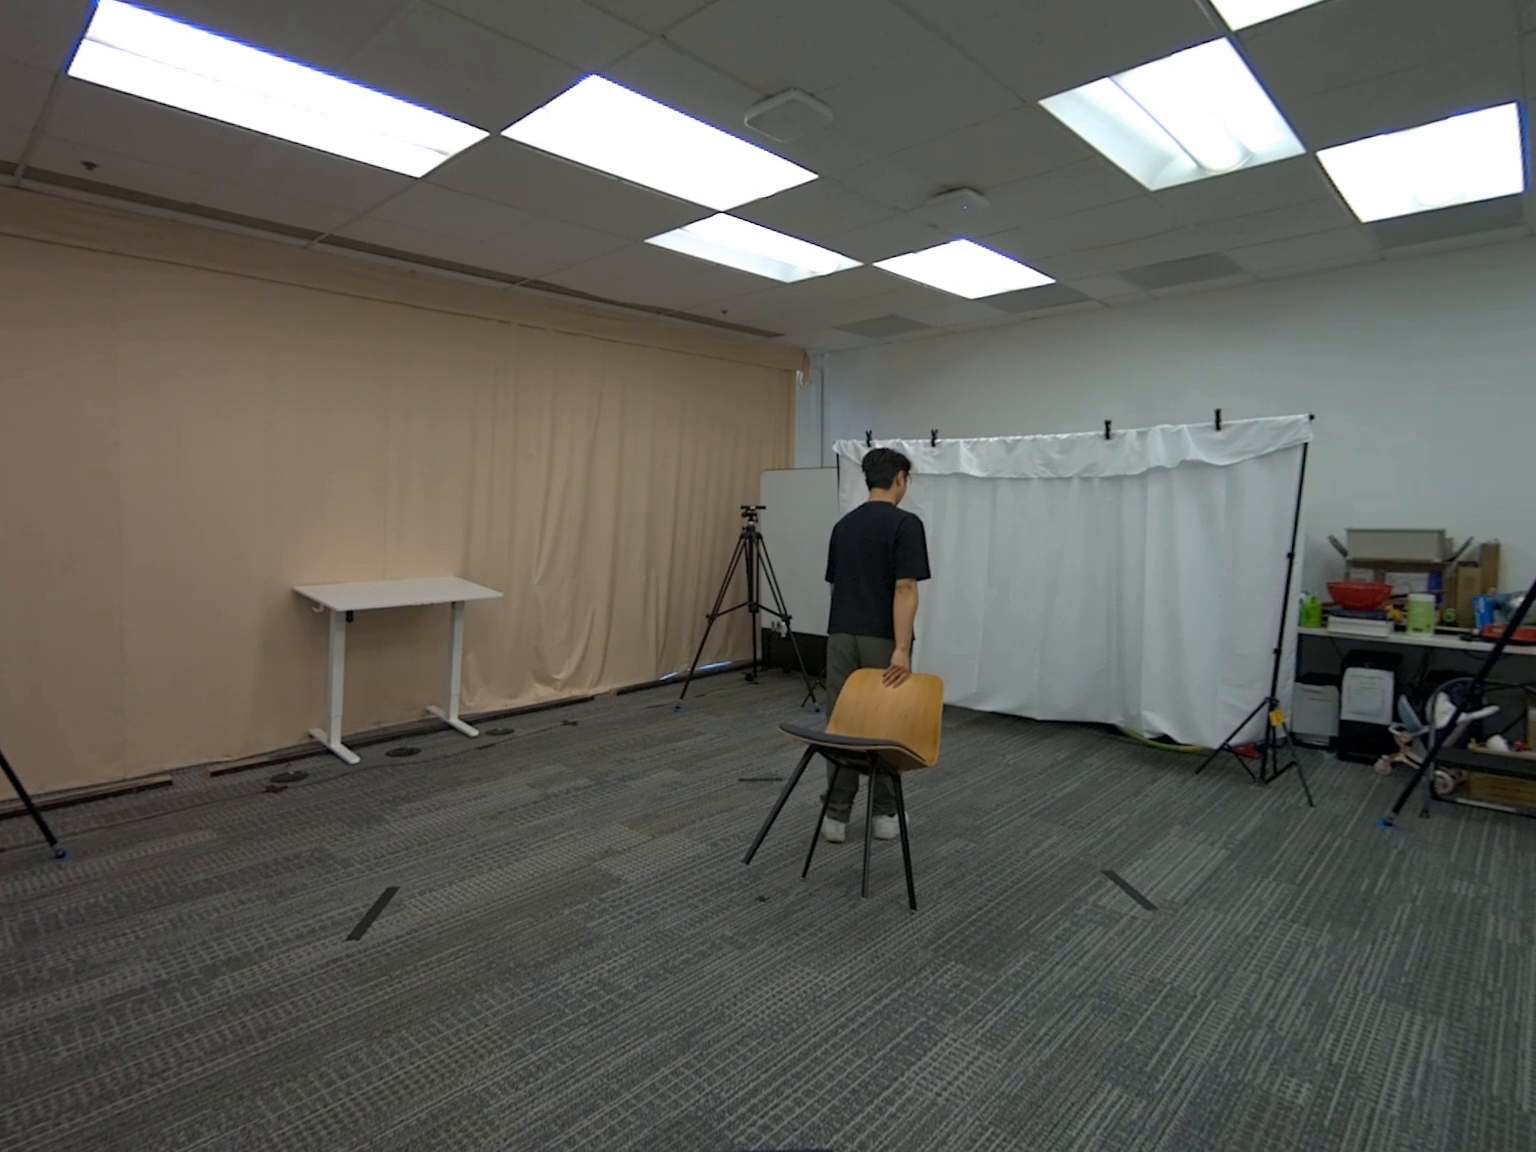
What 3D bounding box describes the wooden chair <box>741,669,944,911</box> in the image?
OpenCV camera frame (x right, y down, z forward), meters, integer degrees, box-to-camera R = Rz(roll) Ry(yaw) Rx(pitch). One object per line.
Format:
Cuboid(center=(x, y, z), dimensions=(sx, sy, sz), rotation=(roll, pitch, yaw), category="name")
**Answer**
Cuboid(center=(0.309, 0.653, 2.966), dimensions=(0.493, 0.882, 0.504), rotation=(2, -25, 35), category="wooden chair")
